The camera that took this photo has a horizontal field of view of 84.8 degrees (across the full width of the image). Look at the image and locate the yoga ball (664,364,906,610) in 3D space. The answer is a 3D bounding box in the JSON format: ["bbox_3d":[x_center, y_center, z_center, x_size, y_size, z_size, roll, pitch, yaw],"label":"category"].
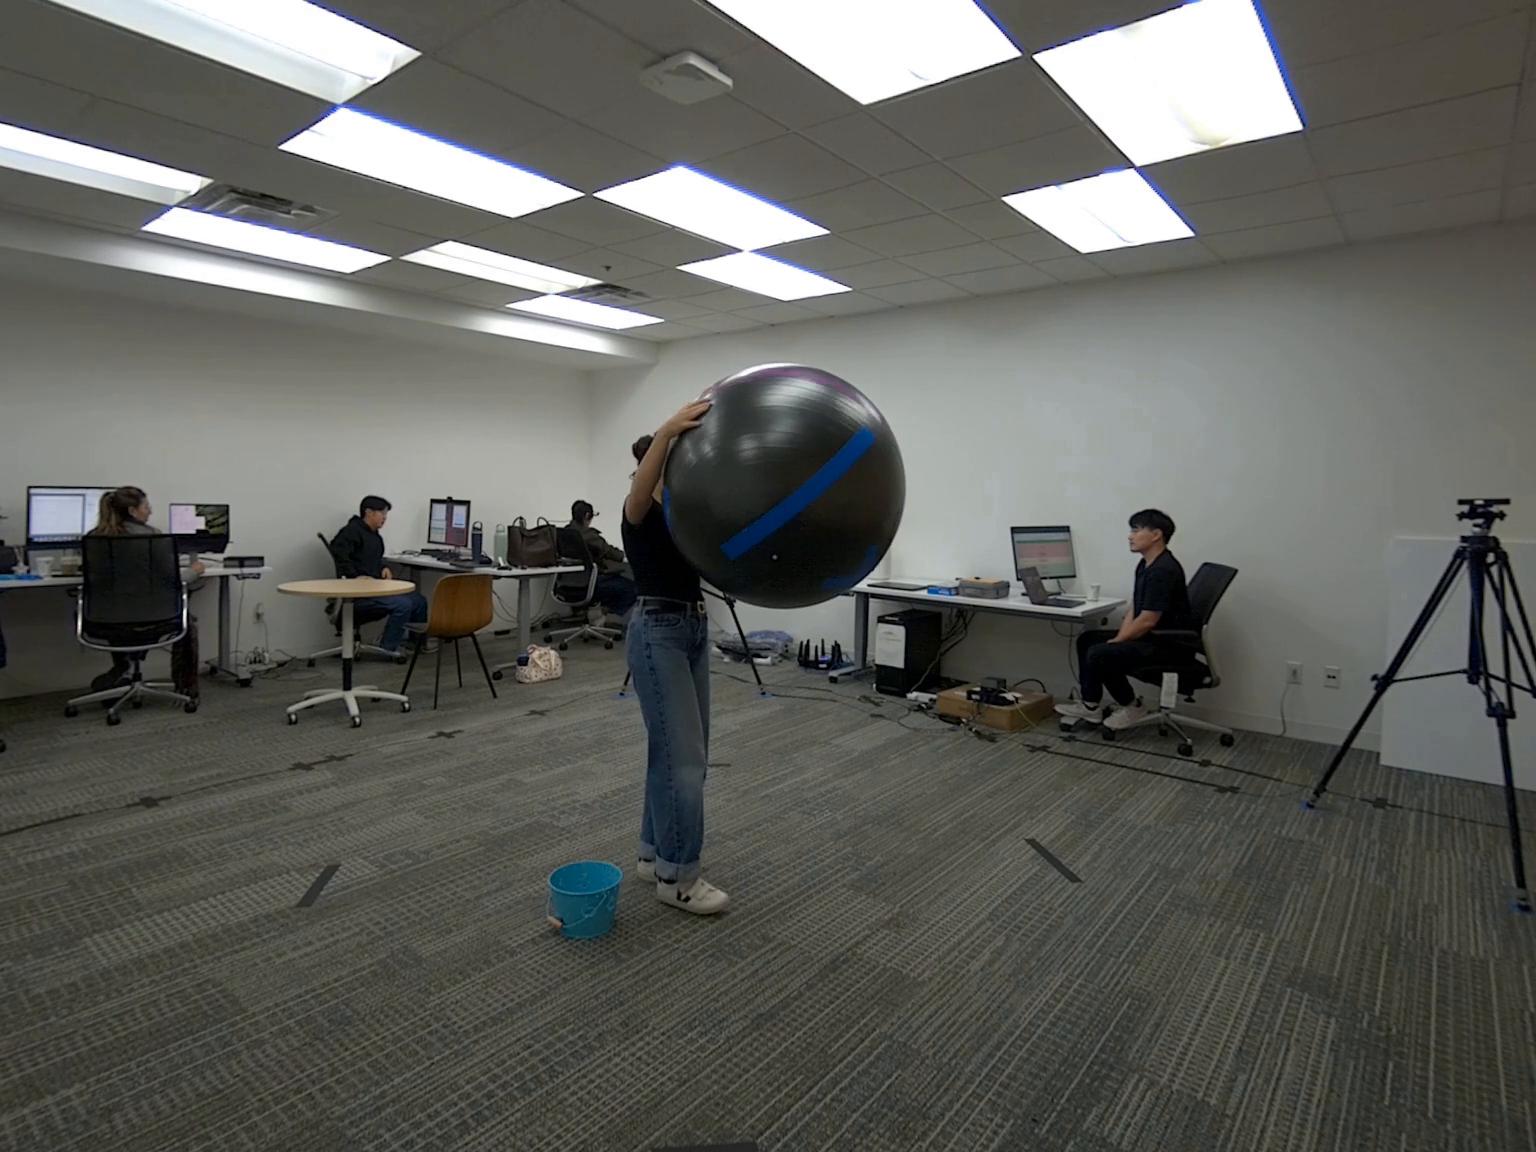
[{"bbox_3d":[0.032,-0.273,2.659,0.757,0.755,0.762,1,4,-2],"label":"yoga ball"}]
